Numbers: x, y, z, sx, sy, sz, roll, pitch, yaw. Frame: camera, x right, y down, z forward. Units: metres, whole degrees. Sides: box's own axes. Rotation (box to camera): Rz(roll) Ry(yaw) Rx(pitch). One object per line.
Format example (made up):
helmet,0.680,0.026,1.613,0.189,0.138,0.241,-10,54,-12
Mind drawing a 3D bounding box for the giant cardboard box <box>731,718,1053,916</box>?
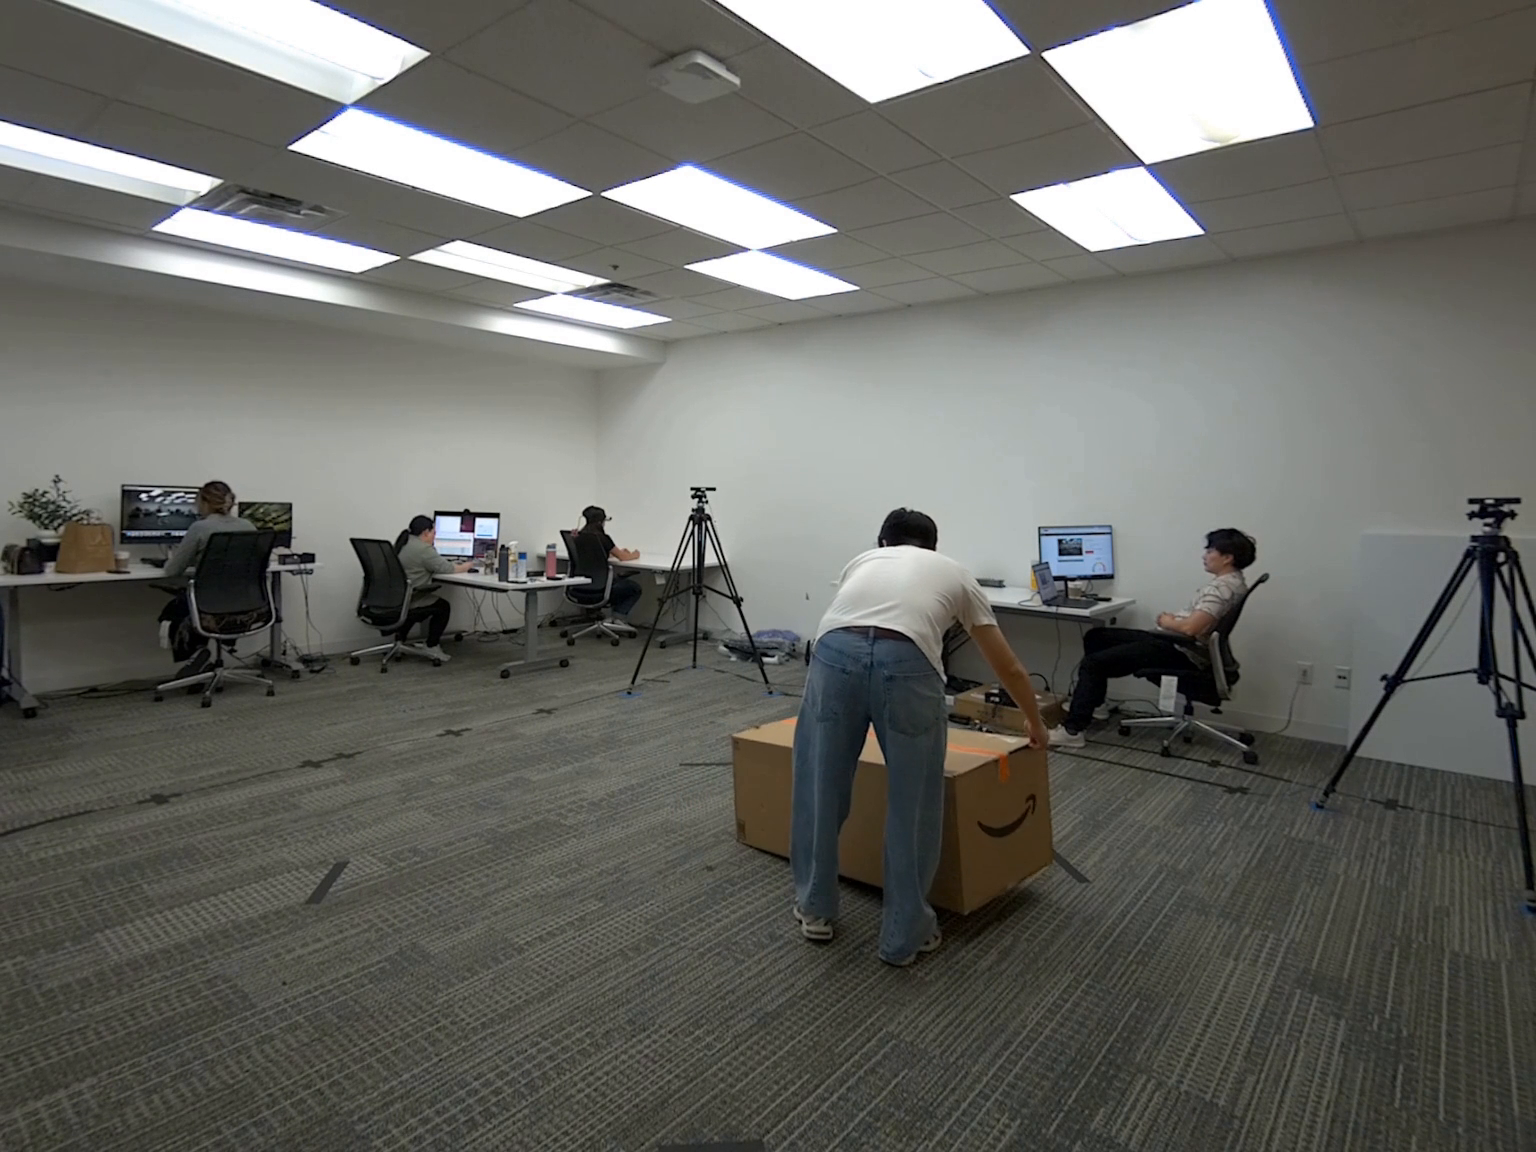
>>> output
giant cardboard box,0.409,0.804,3.160,0.560,0.426,1.057,-4,2,-44
